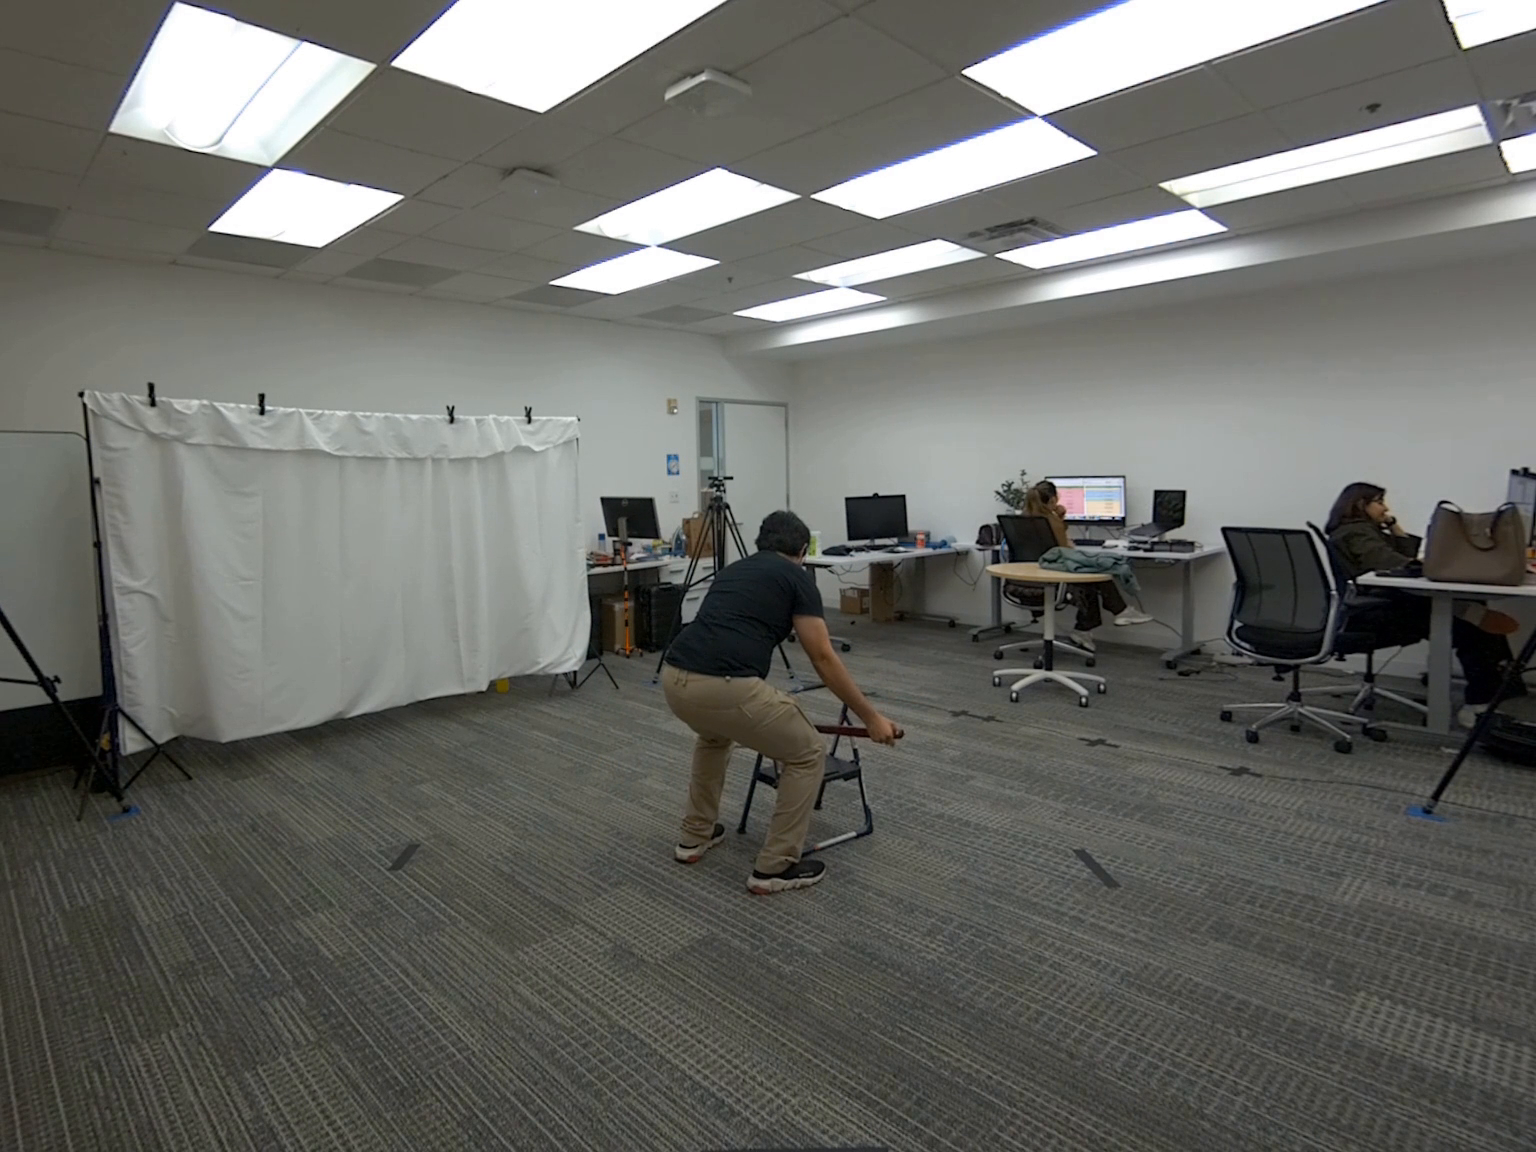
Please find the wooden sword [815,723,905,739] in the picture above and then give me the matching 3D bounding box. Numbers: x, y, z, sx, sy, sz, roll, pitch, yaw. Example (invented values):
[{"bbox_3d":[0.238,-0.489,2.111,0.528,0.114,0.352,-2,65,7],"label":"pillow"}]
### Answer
[{"bbox_3d":[0.126,0.552,3.304,0.049,0.024,1.053,11,-7,-40],"label":"wooden sword"}]
